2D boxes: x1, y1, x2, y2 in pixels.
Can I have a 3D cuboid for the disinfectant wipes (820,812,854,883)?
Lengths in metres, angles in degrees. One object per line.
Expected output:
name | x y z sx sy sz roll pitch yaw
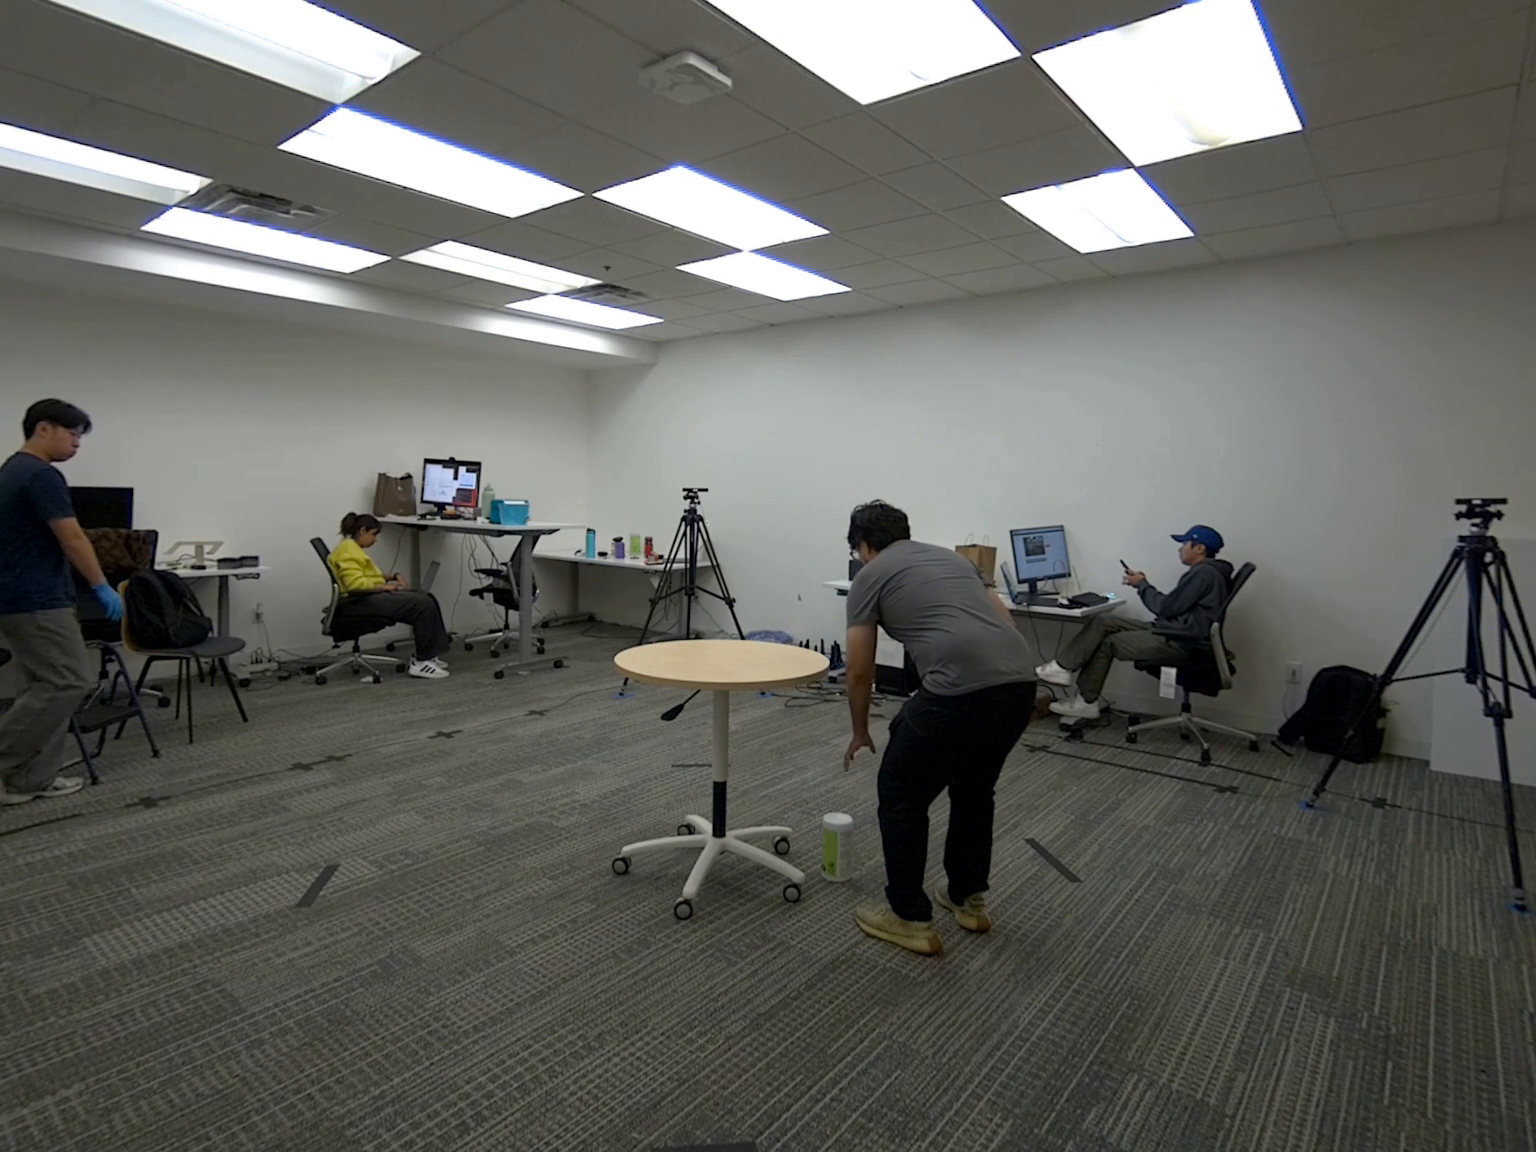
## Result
disinfectant wipes | 0.242 0.974 3.065 0.117 0.217 0.118 3 3 -2
